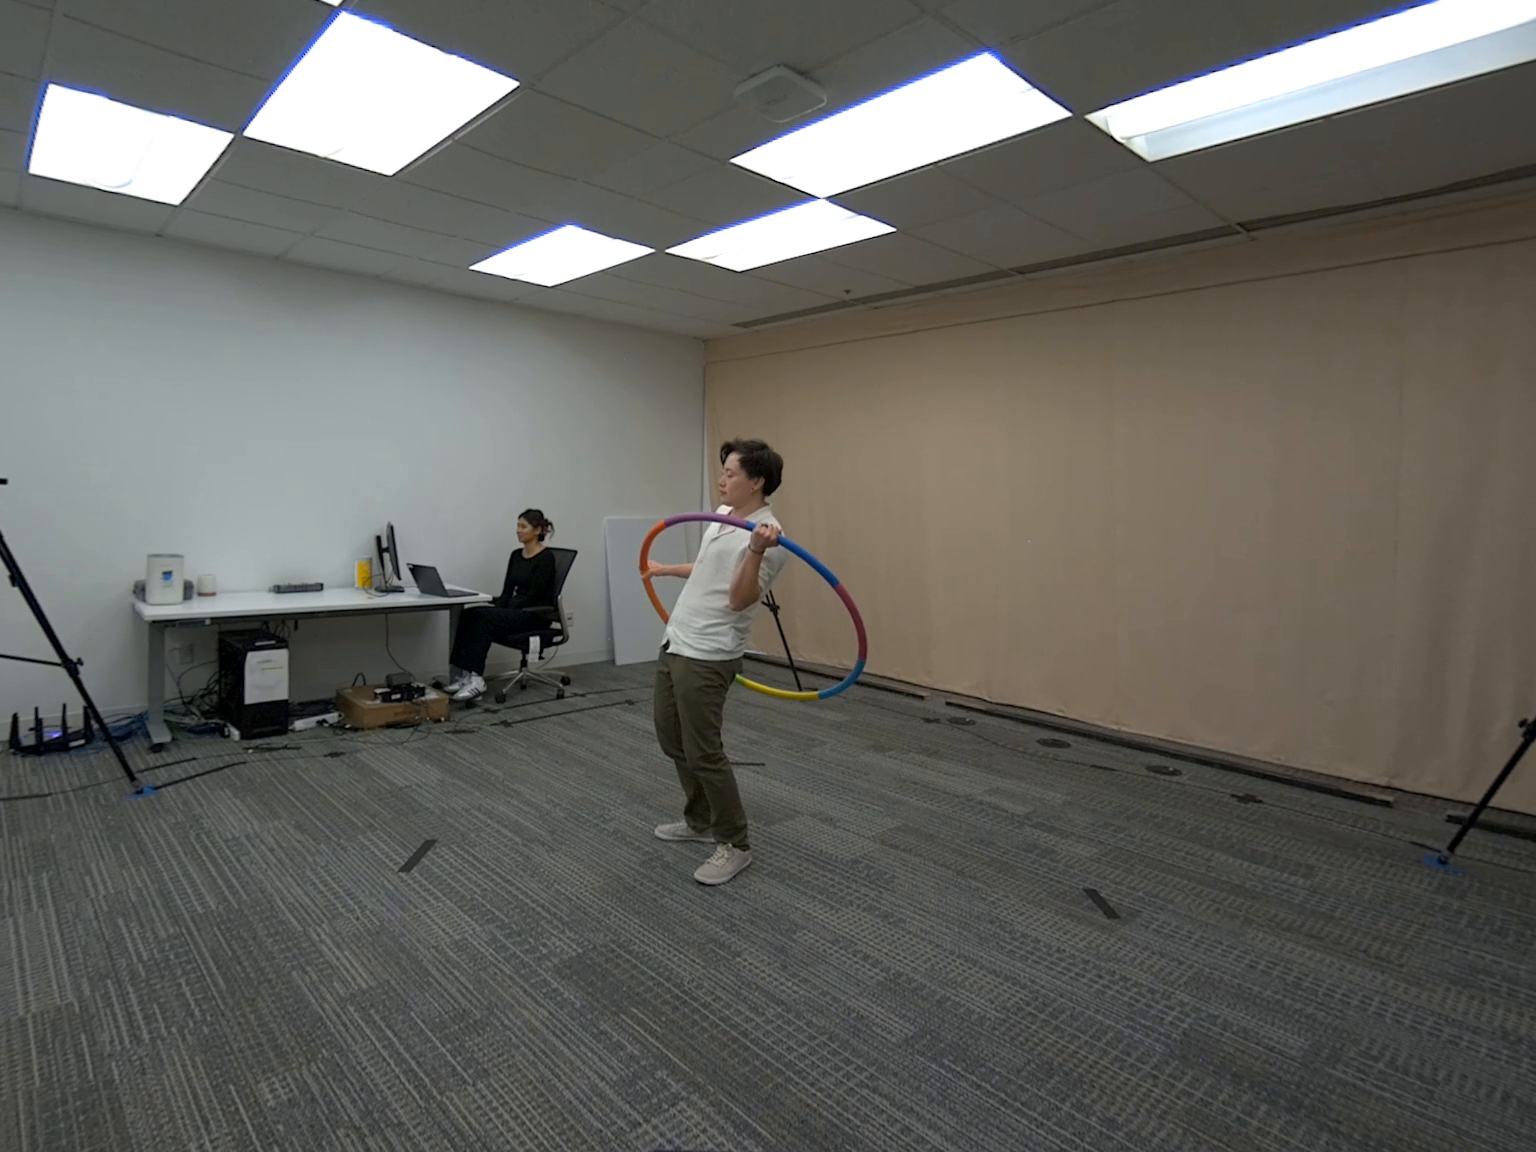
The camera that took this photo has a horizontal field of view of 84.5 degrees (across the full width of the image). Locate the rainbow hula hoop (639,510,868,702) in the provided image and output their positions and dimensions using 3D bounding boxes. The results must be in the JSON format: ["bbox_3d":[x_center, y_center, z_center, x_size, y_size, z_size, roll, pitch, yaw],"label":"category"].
[{"bbox_3d":[-0.083,0.134,3.278,1.002,0.952,0.036,5,43,35],"label":"rainbow hula hoop"}]
